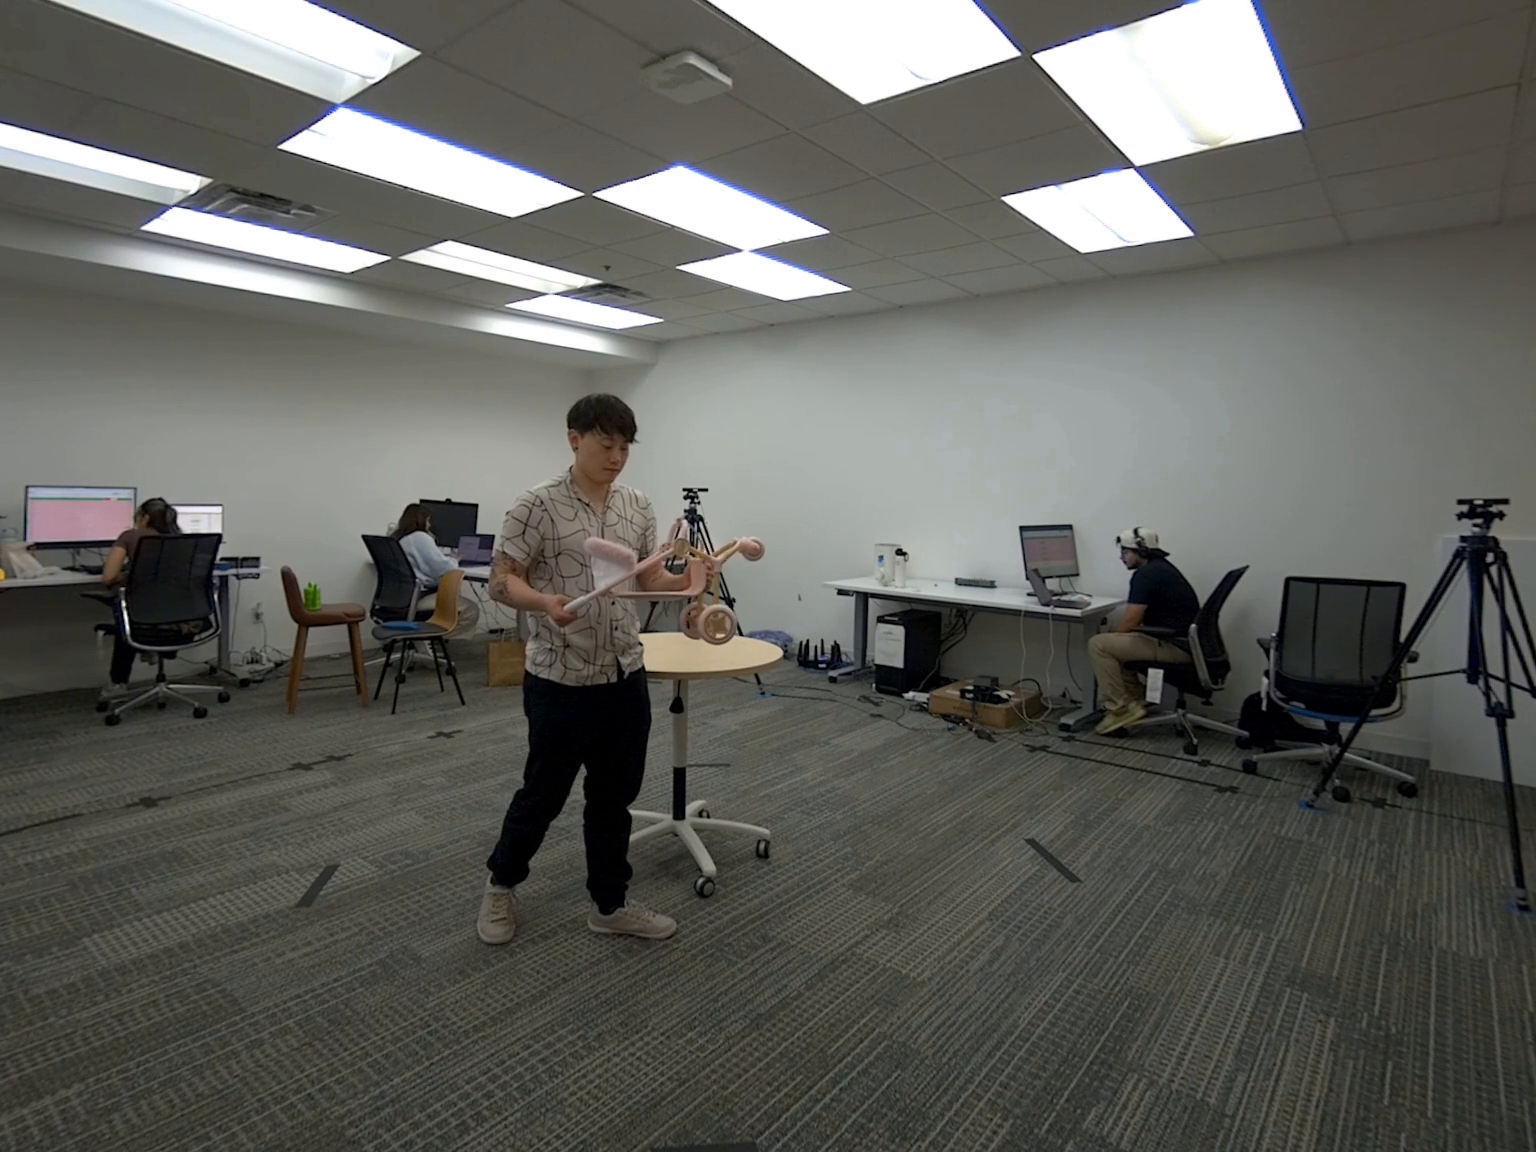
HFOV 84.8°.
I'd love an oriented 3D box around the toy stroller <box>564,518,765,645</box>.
[{"bbox_3d":[-0.286,-0.009,2.405,0.526,0.342,0.286,15,-2,-14],"label":"toy stroller"}]
